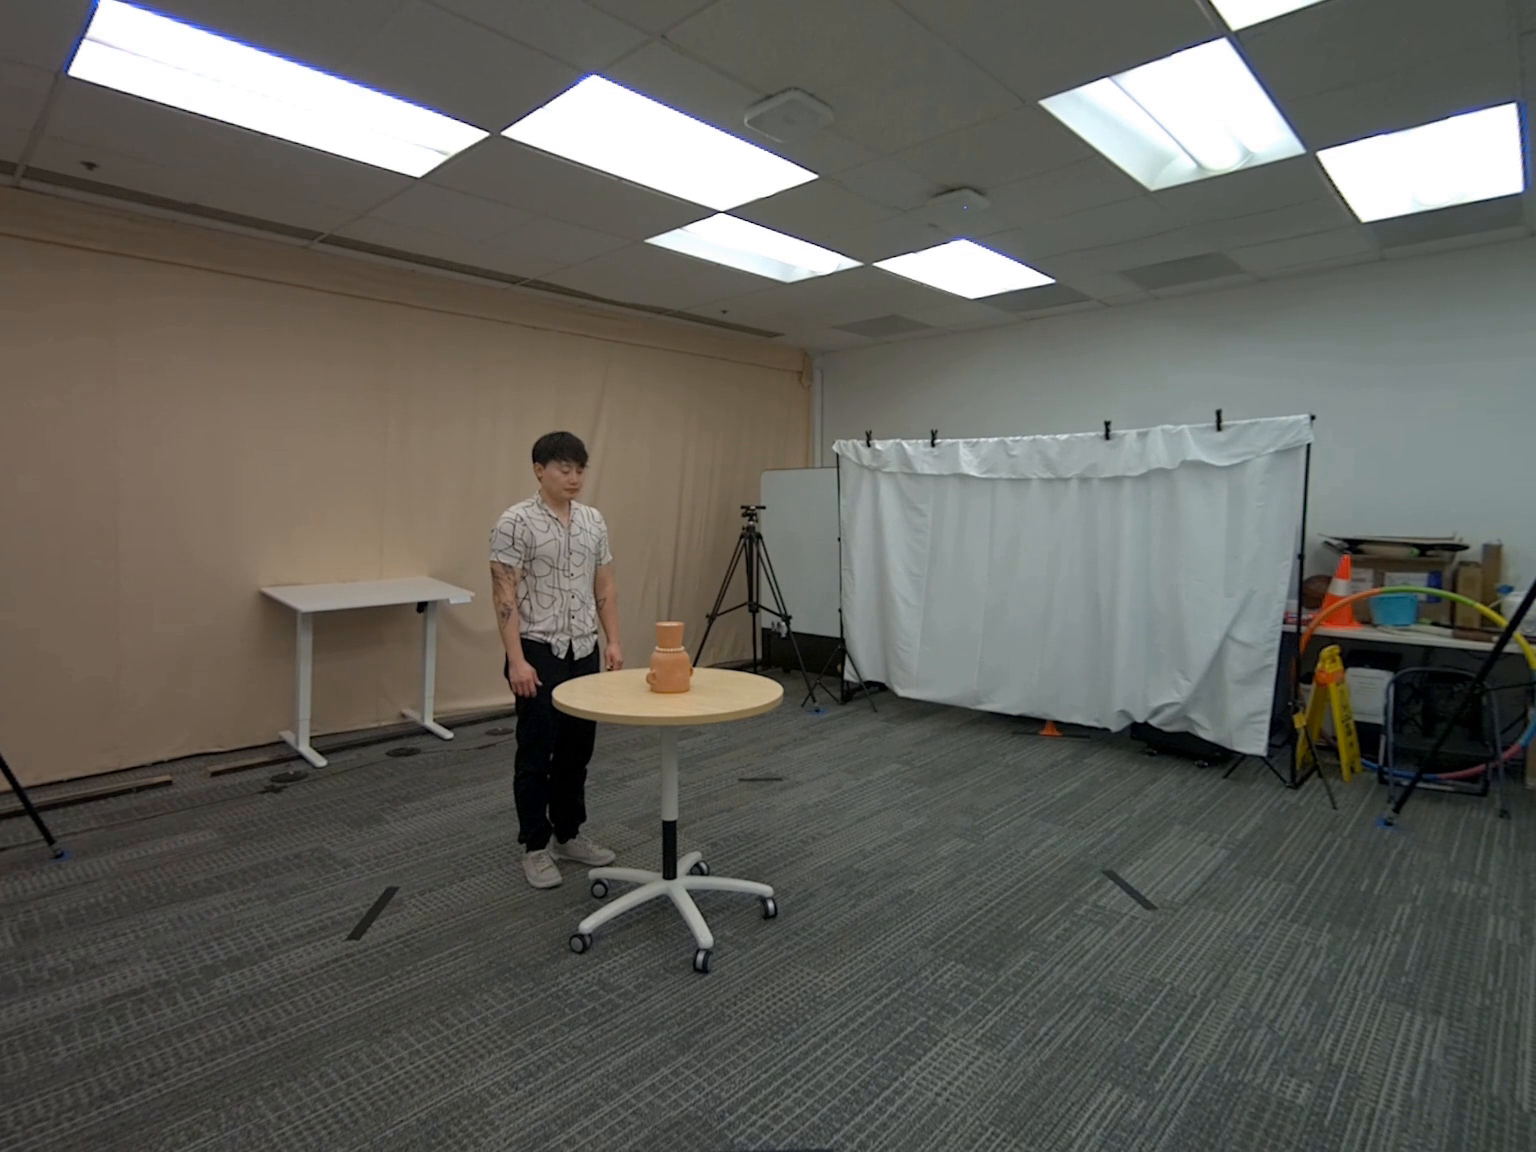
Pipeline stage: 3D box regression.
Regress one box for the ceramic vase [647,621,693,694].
[{"bbox_3d":[-0.321,0.265,2.801,0.136,0.219,0.158,2,3,6],"label":"ceramic vase"}]
